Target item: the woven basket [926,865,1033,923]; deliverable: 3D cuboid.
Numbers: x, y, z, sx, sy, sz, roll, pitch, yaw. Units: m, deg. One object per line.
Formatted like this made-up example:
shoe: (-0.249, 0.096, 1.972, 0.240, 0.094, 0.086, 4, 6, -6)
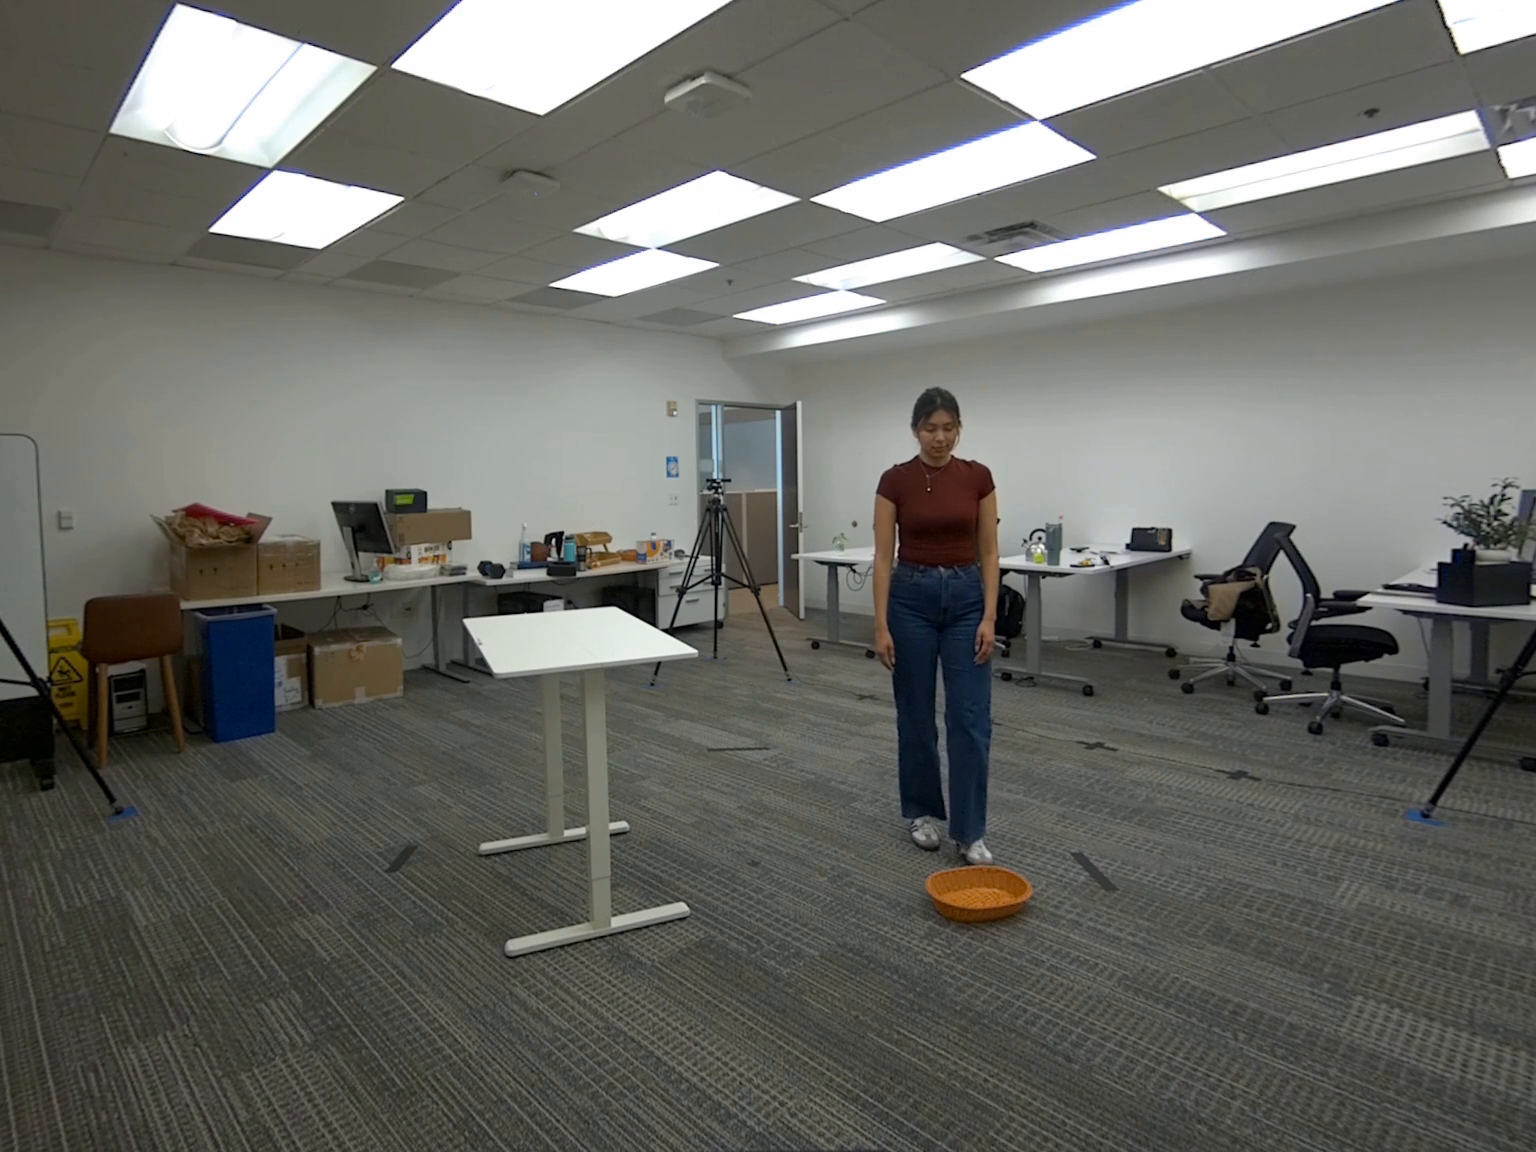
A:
woven basket: (0.680, 1.031, 2.766, 0.345, 0.073, 0.257, -3, 7, -18)
